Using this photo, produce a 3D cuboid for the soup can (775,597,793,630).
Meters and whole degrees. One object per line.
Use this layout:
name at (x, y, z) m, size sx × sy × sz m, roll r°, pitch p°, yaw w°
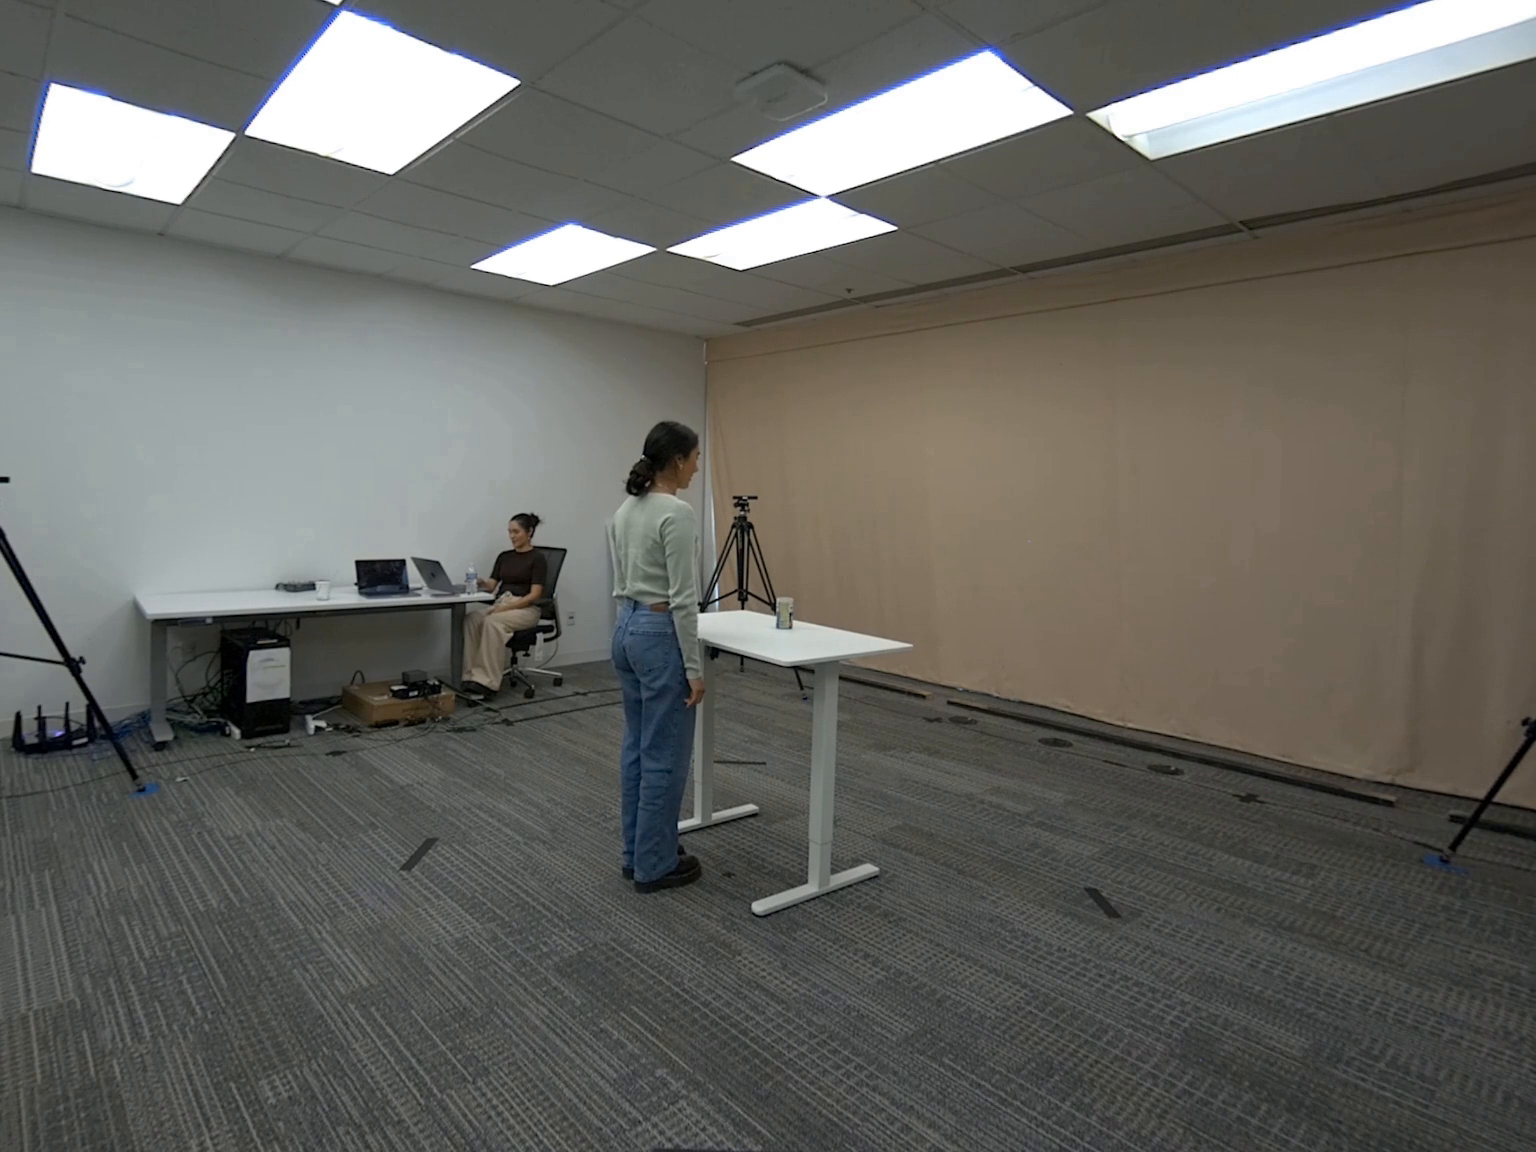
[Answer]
soup can at (0.062, 0.149, 3.299) m, size 0.067 × 0.121 × 0.067 m, roll 1°, pitch 4°, yaw -1°
